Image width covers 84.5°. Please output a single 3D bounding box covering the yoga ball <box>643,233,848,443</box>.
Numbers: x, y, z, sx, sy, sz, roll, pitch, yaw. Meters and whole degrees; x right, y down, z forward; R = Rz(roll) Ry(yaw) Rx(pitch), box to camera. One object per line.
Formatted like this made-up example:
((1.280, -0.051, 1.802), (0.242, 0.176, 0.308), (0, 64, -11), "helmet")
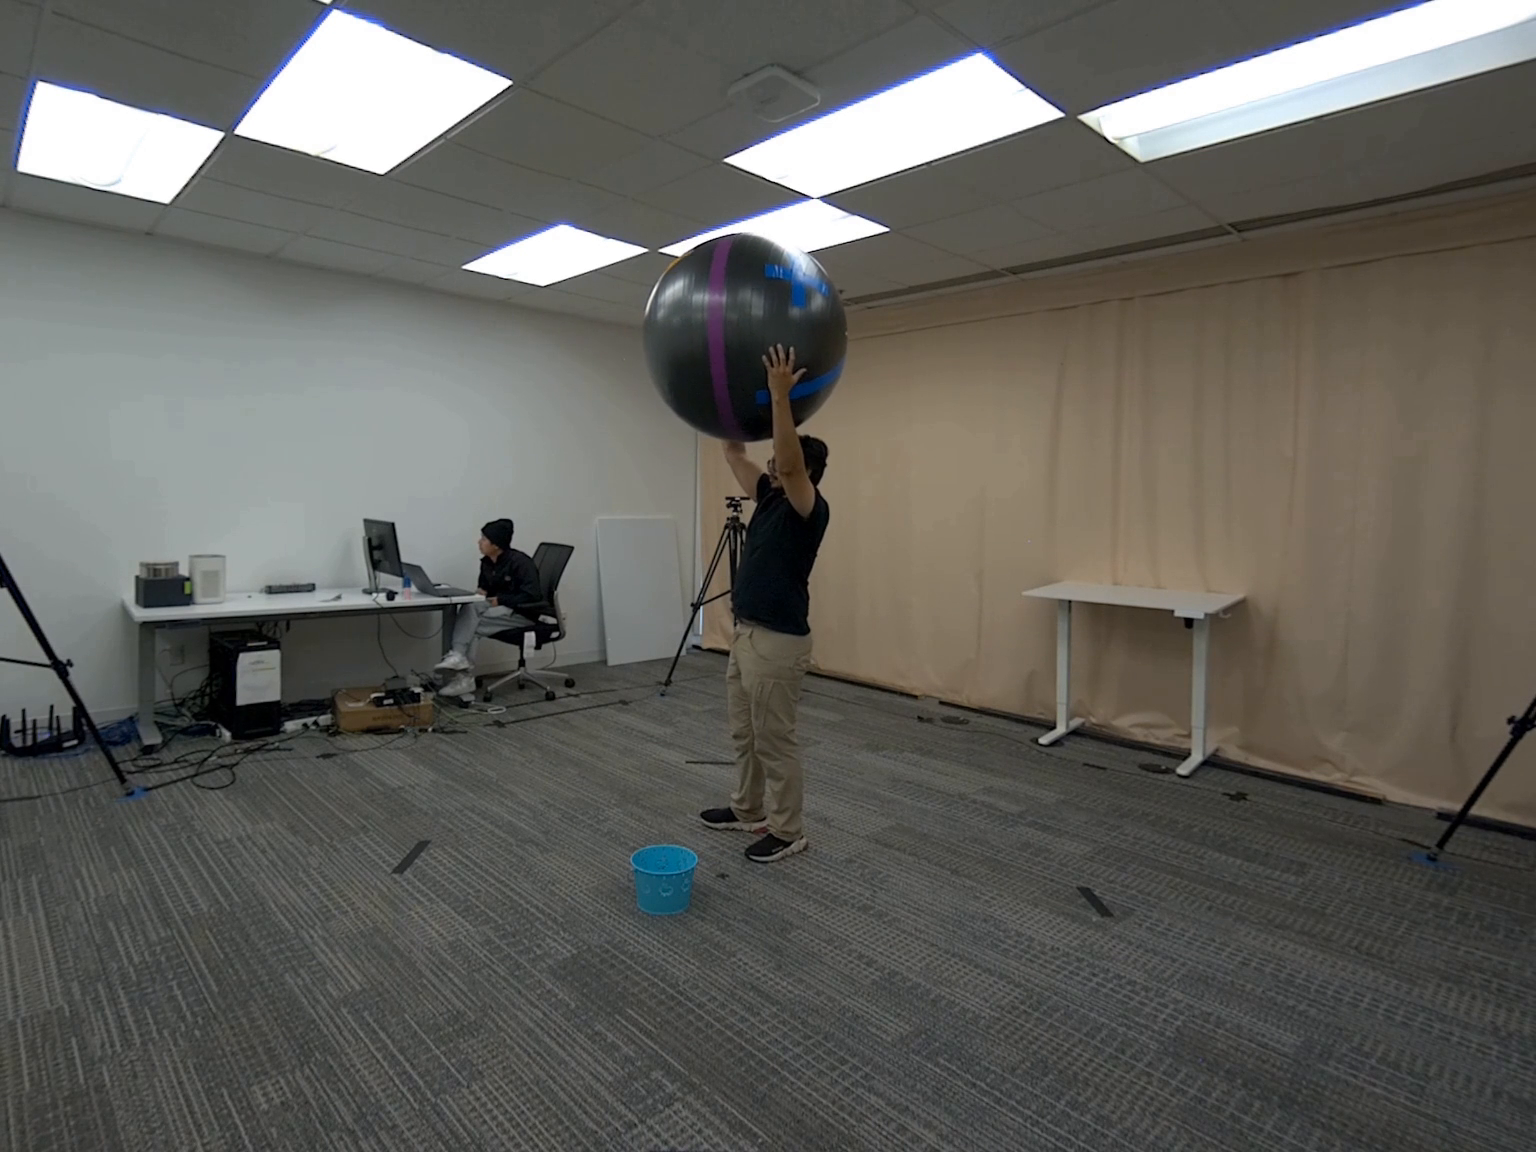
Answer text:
((-0.097, -0.876, 3.138), (0.757, 0.756, 0.761), (1, 4, -1), "yoga ball")
